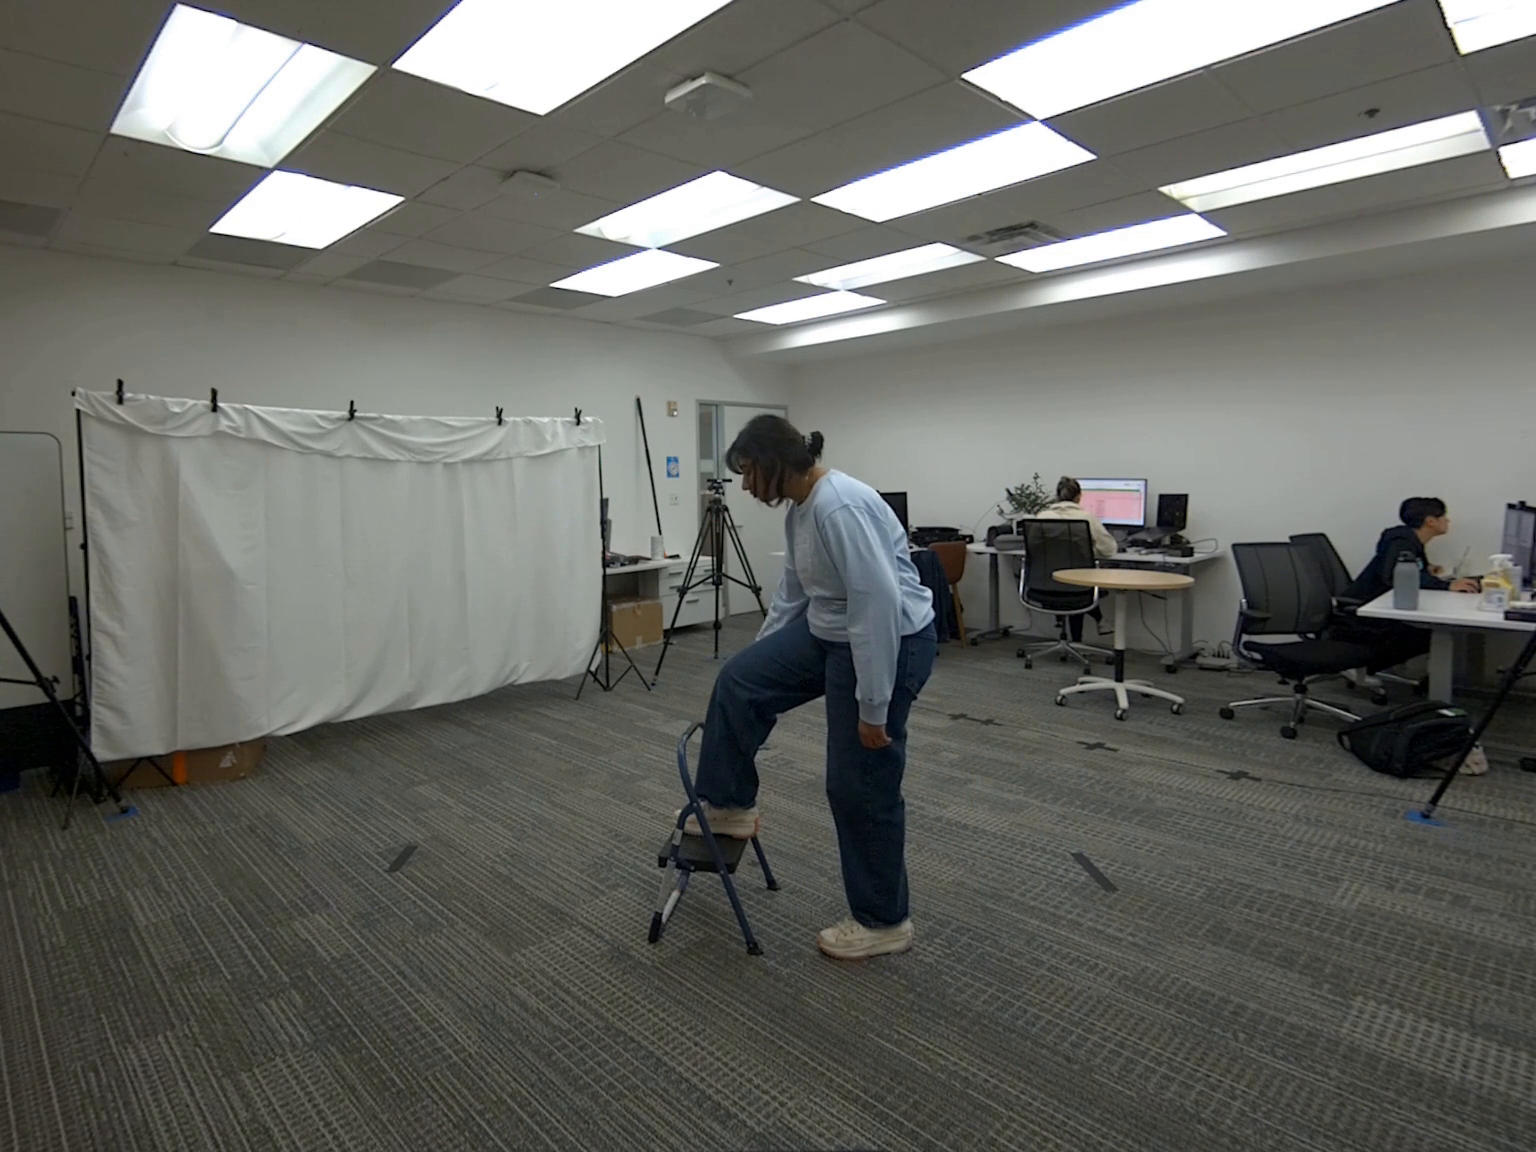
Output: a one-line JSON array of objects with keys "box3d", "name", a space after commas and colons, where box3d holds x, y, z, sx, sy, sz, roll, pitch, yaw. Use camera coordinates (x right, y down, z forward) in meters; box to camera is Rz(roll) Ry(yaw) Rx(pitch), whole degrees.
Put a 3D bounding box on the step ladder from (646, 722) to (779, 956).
[{"box3d": [-0.165, 0.791, 2.734, 0.353, 0.604, 0.428, 0, 4, 10], "name": "step ladder"}]
